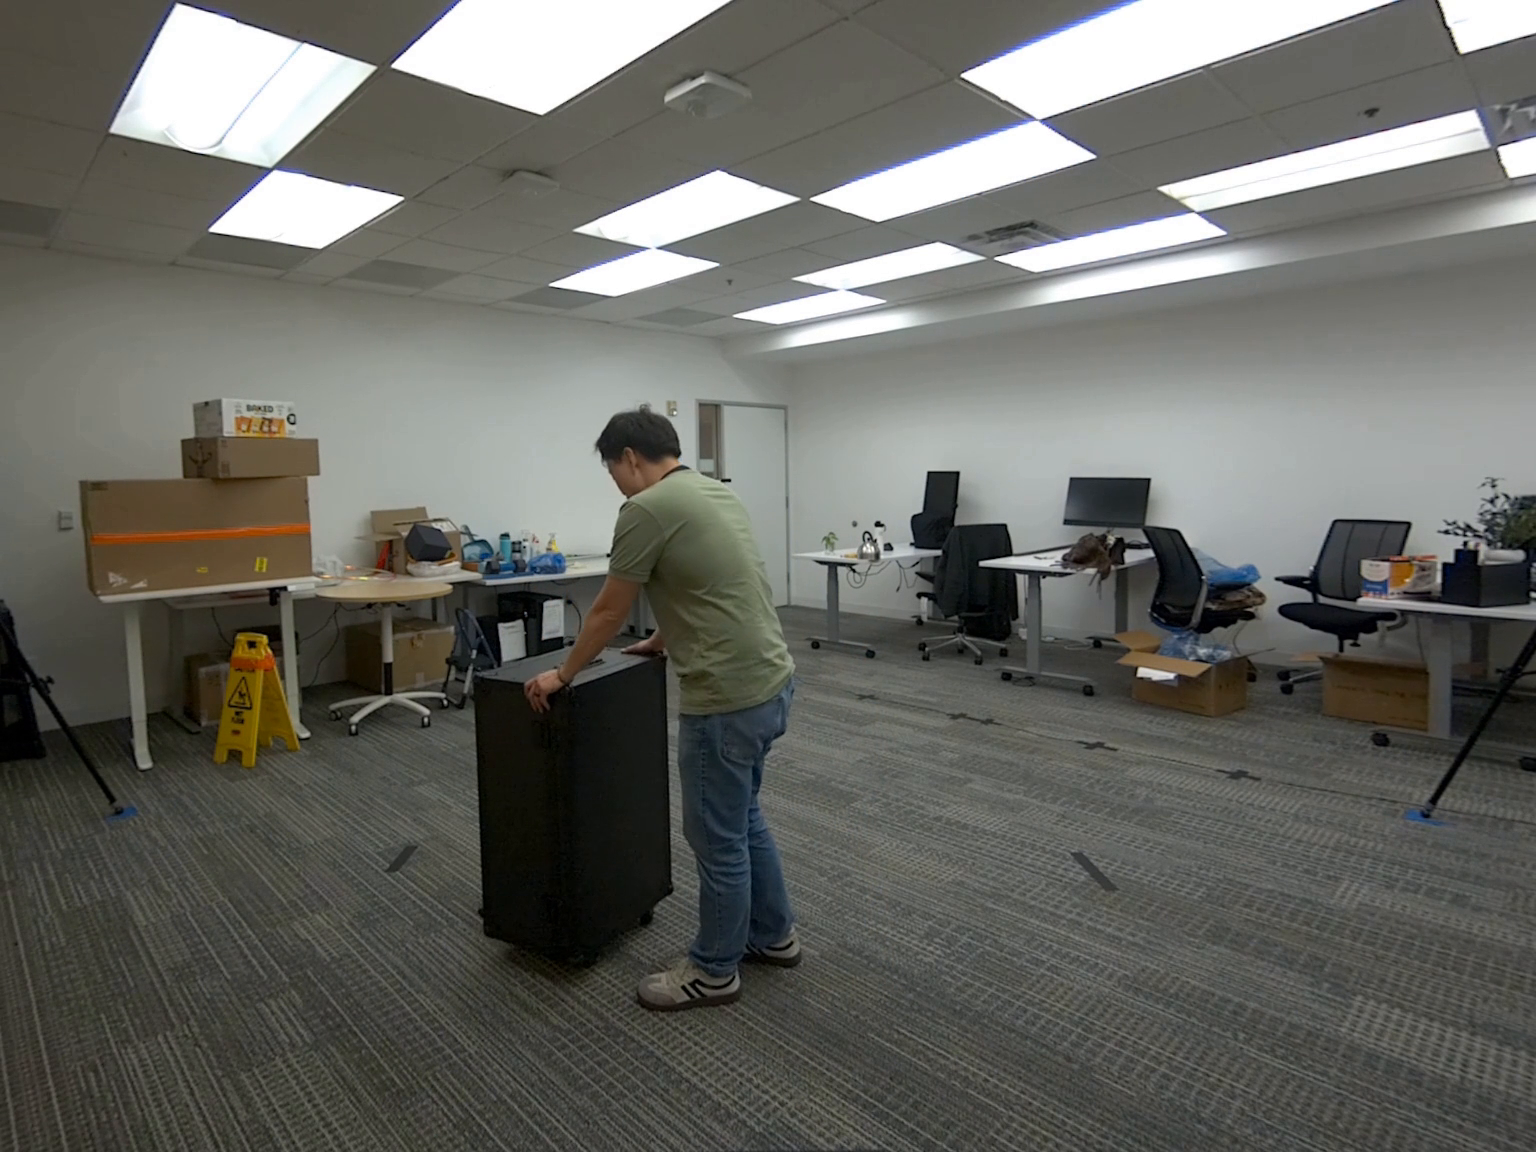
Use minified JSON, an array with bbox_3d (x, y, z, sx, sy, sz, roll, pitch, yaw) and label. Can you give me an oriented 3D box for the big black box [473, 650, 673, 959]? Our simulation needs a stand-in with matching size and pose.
[{"bbox_3d":[-0.593,0.688,2.613,0.406,0.858,0.510,0,5,30],"label":"big black box"}]
